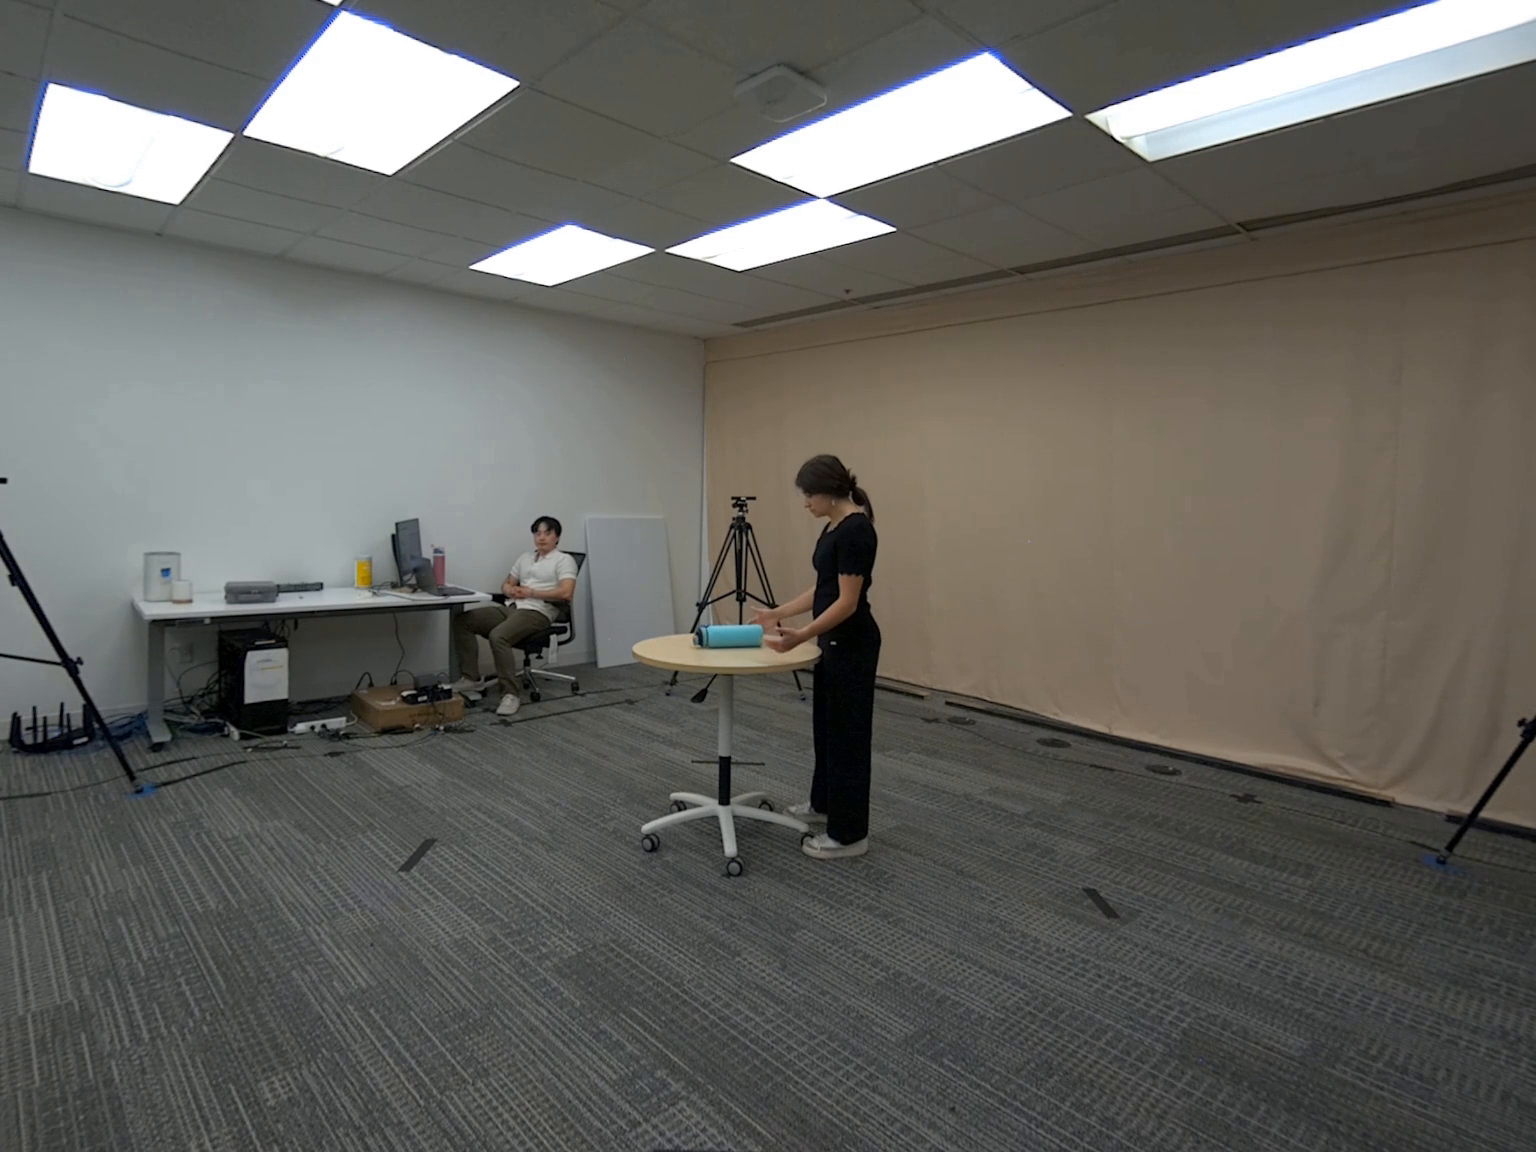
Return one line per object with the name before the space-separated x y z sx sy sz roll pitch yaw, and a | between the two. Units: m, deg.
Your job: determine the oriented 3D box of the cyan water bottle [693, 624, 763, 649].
cyan water bottle | -0.170 0.243 3.432 0.281 0.092 0.093 0 4 -11
